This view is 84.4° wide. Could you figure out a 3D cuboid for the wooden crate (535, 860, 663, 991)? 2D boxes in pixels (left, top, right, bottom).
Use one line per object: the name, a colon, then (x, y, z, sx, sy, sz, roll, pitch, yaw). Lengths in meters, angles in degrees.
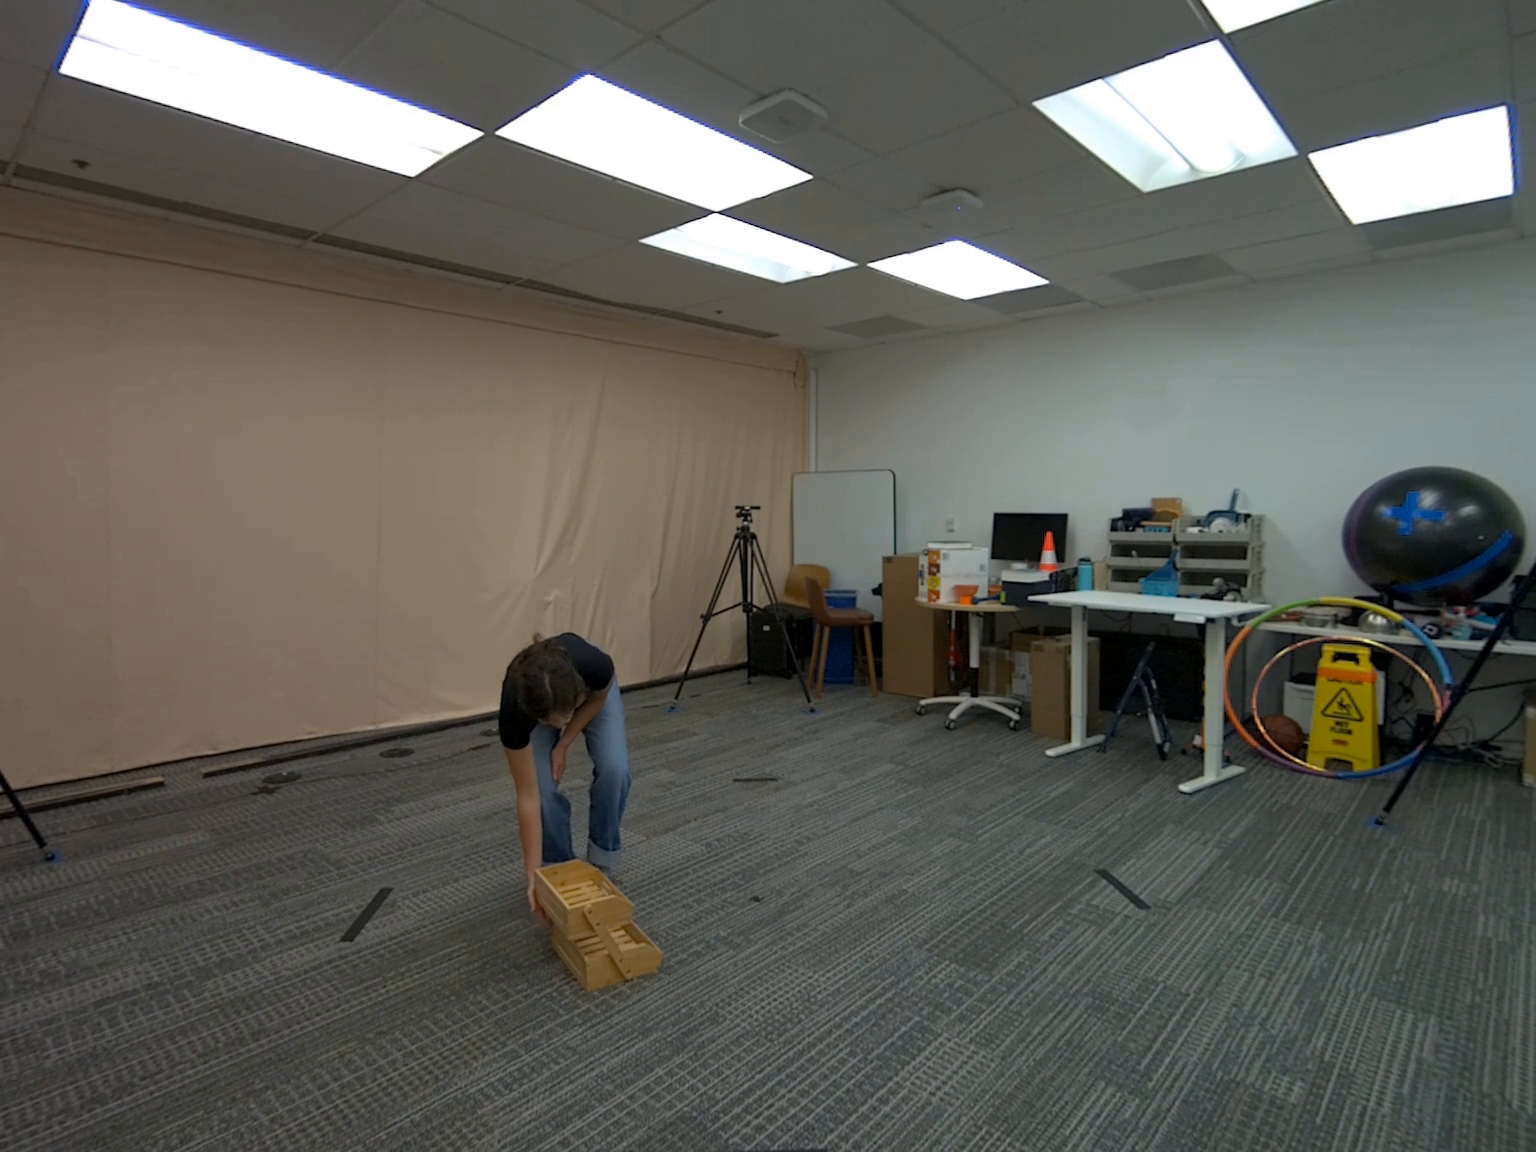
wooden crate: (-0.518, 1.045, 2.583, 0.294, 0.273, 0.334, -3, 5, -33)
